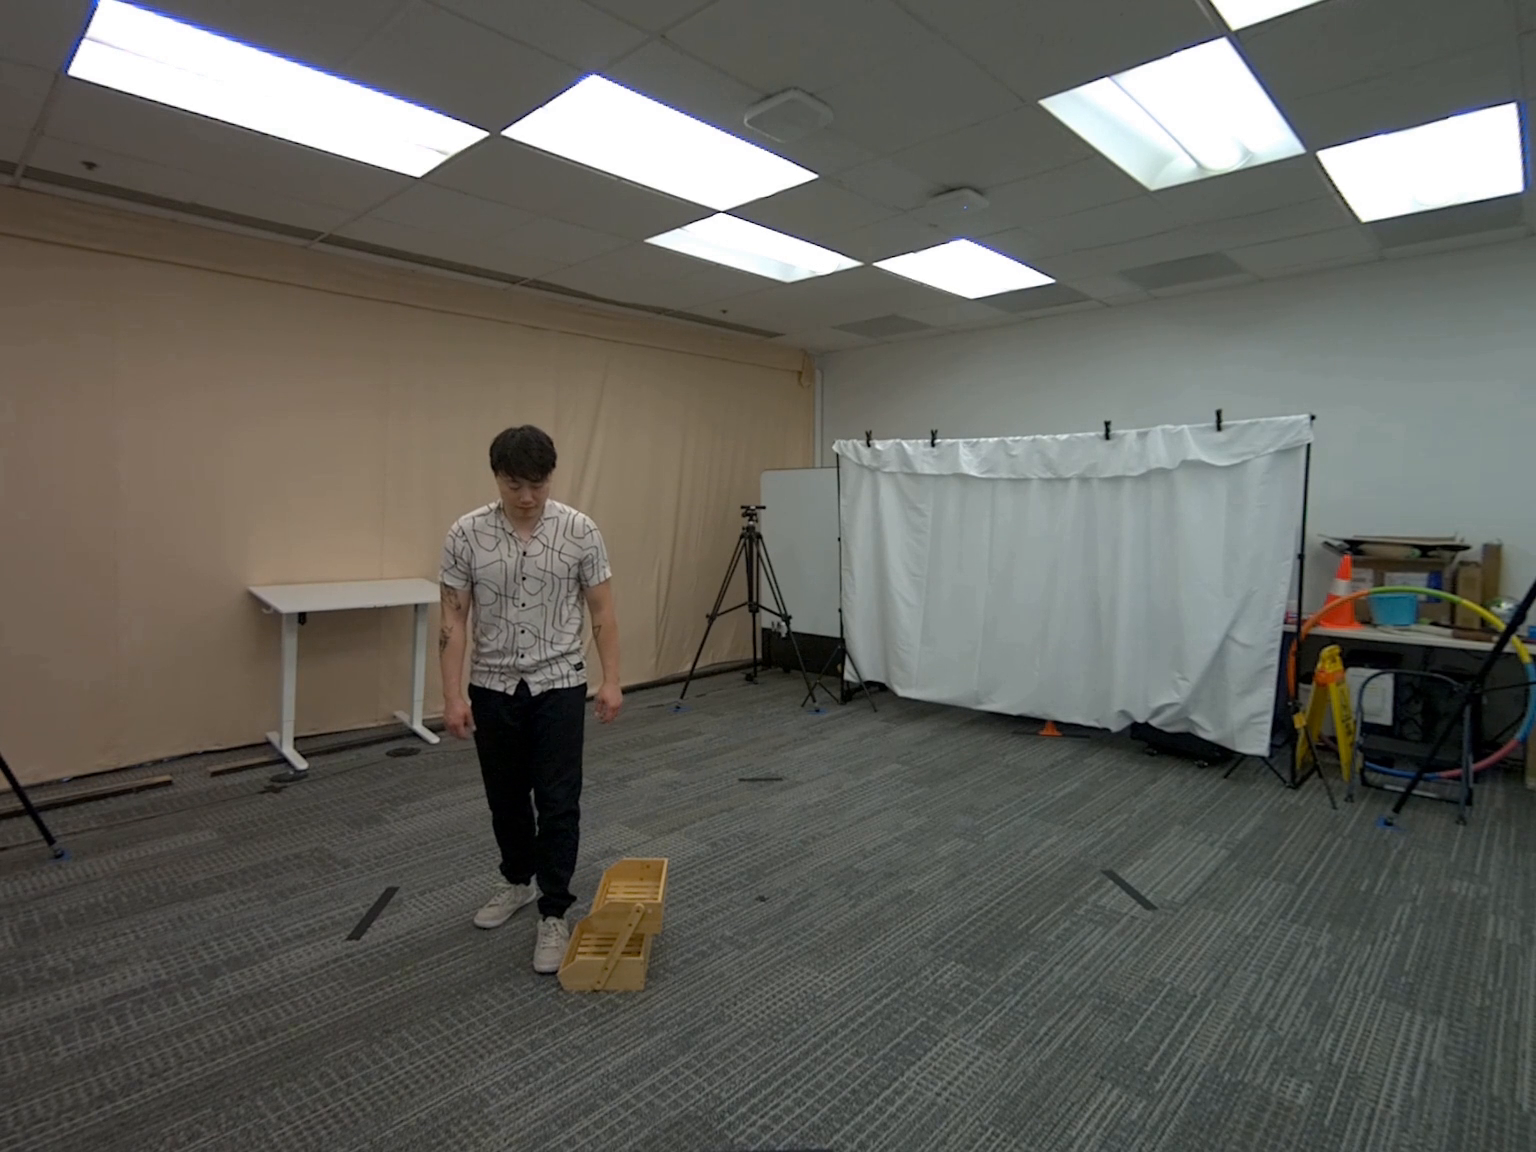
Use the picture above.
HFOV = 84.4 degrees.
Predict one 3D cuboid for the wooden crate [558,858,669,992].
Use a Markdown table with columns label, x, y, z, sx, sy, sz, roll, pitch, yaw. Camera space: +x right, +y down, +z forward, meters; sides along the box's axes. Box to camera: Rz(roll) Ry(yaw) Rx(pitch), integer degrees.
| label | x | y | z | sx | sy | sz | roll | pitch | yaw |
| --- | --- | --- | --- | --- | --- | --- | --- | --- | --- |
| wooden crate | -0.471 | 1.051 | 2.557 | 0.301 | 0.273 | 0.326 | 0 | 4 | -2 |
